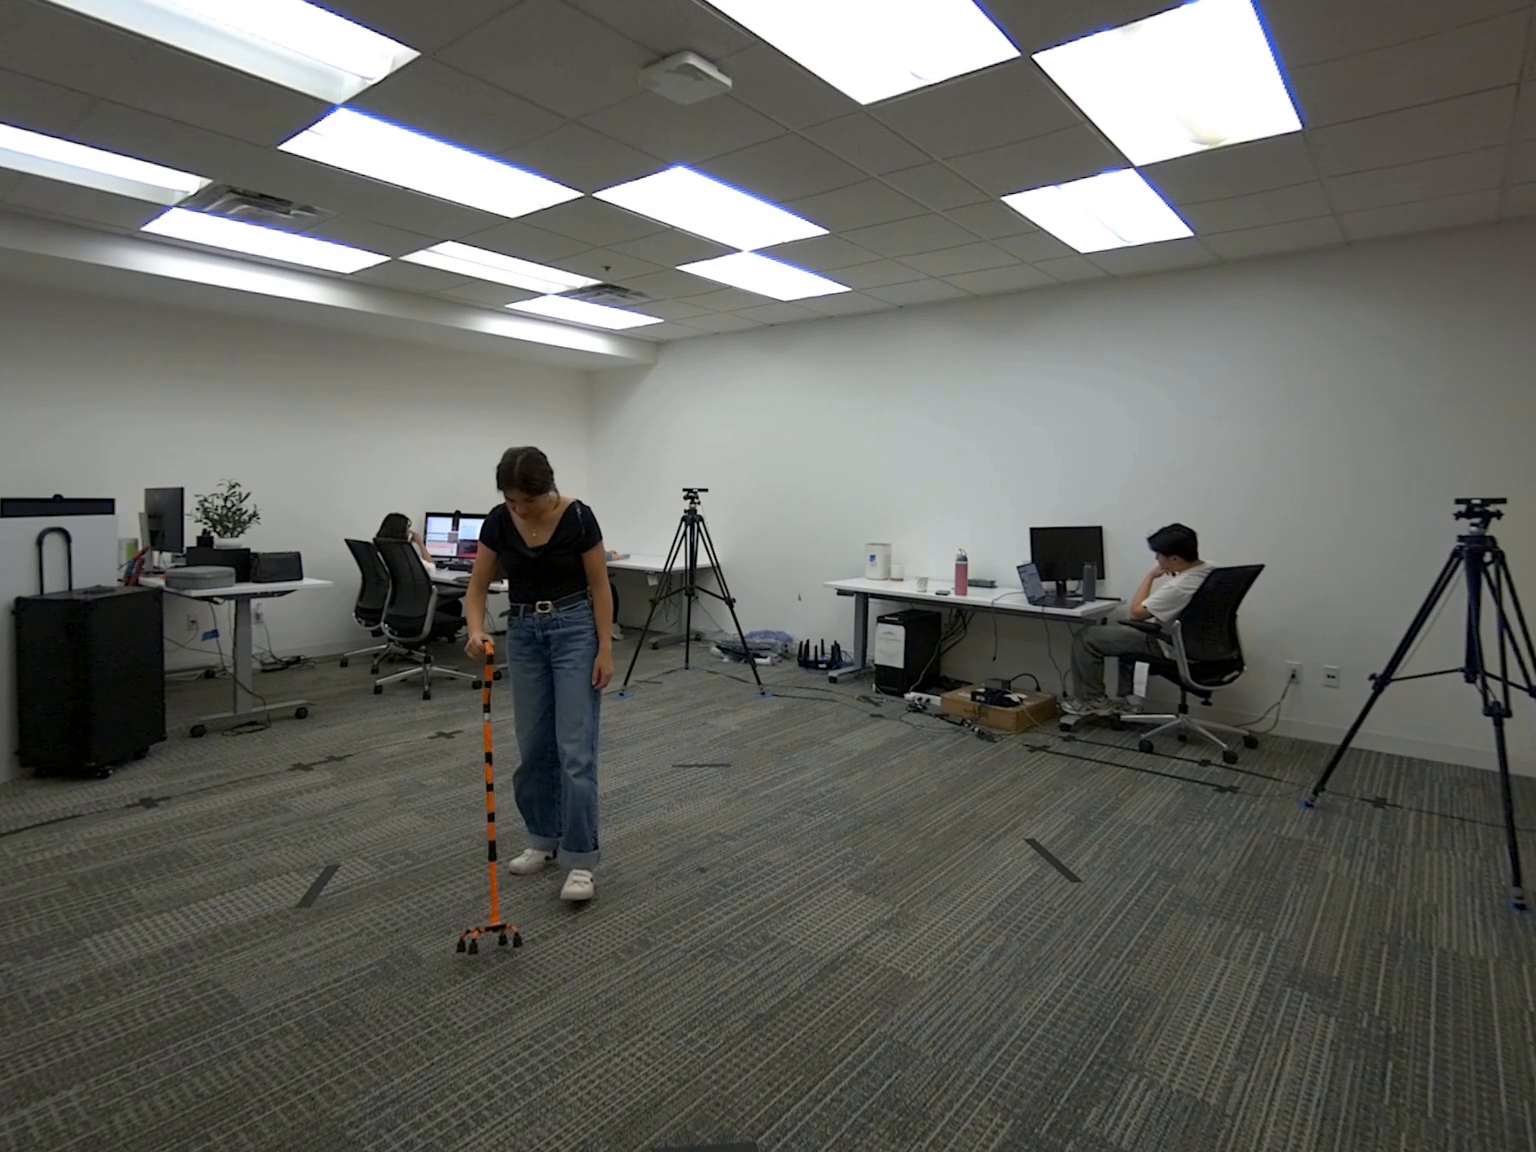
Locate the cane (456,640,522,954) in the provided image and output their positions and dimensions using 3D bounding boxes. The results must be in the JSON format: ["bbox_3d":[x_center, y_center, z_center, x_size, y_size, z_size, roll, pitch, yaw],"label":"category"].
[{"bbox_3d":[-0.869,0.641,2.610,0.147,0.927,0.208,3,-22,-30],"label":"cane"}]
